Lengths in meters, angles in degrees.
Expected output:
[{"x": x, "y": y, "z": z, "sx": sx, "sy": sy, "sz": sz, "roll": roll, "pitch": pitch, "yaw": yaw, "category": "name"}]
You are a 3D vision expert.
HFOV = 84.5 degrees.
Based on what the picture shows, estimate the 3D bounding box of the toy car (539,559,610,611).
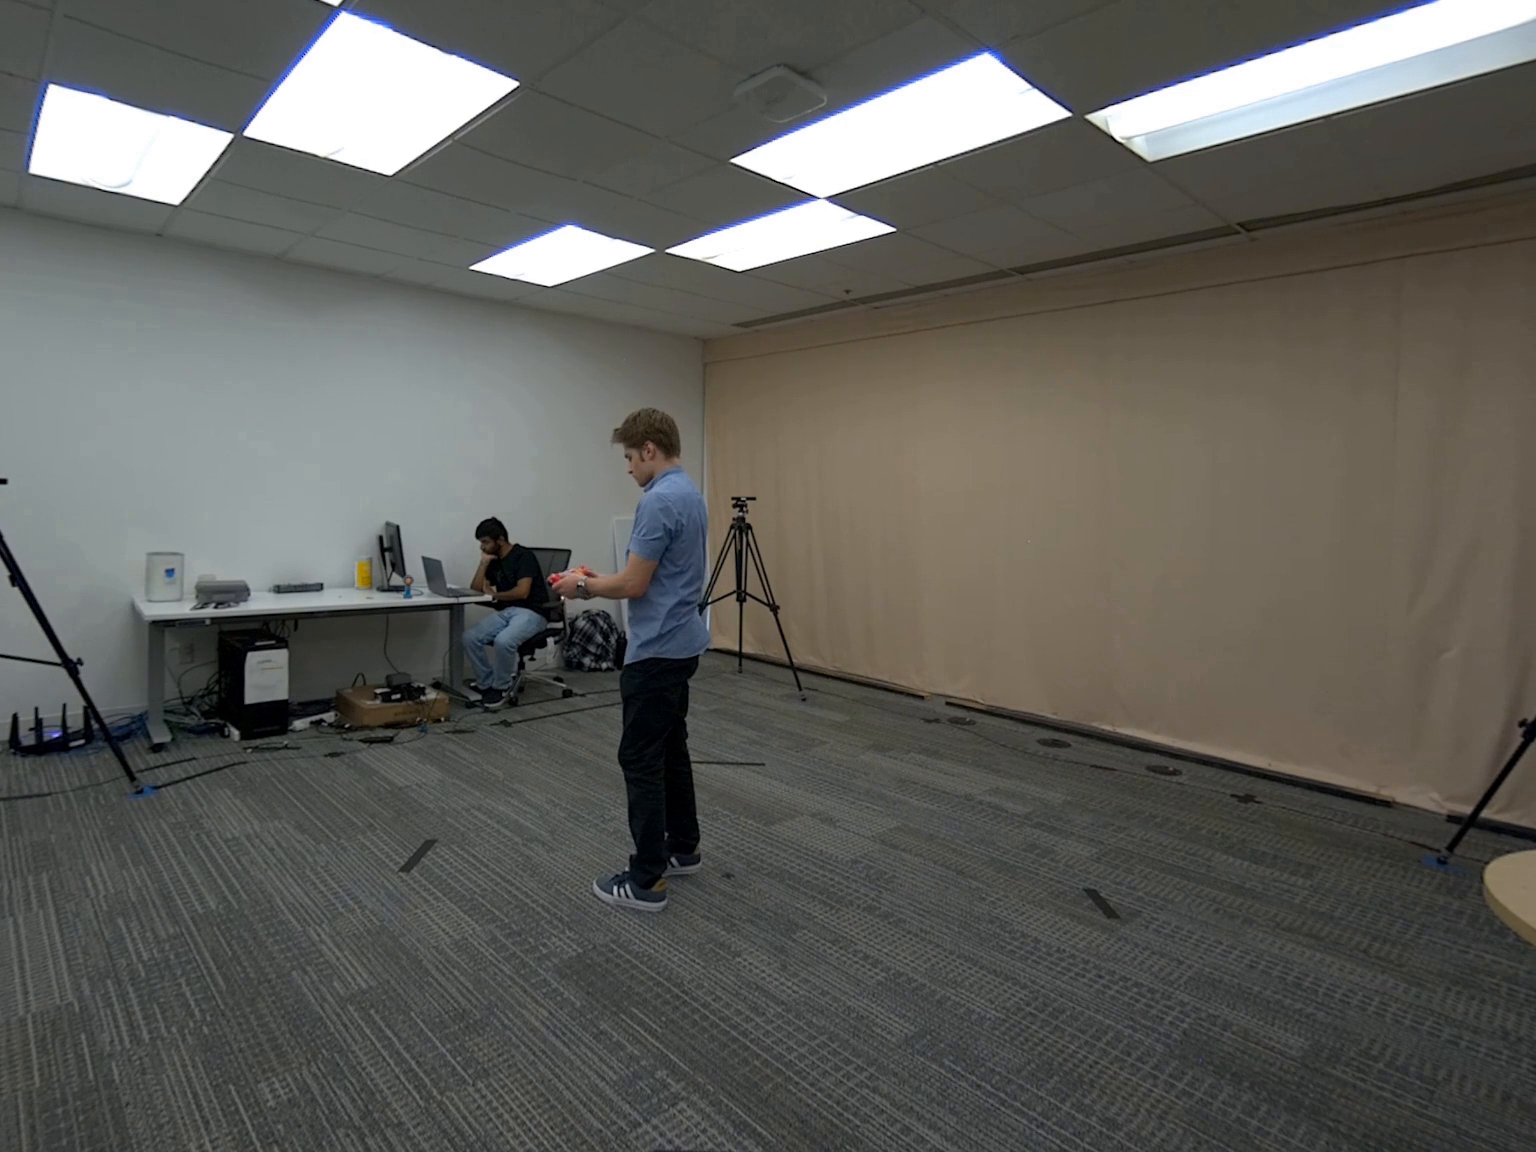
[{"x": -0.713, "y": 0.027, "z": 3.125, "sx": 0.132, "sy": 0.082, "sz": 0.253, "roll": 21, "pitch": 19, "yaw": 12, "category": "toy car"}]
